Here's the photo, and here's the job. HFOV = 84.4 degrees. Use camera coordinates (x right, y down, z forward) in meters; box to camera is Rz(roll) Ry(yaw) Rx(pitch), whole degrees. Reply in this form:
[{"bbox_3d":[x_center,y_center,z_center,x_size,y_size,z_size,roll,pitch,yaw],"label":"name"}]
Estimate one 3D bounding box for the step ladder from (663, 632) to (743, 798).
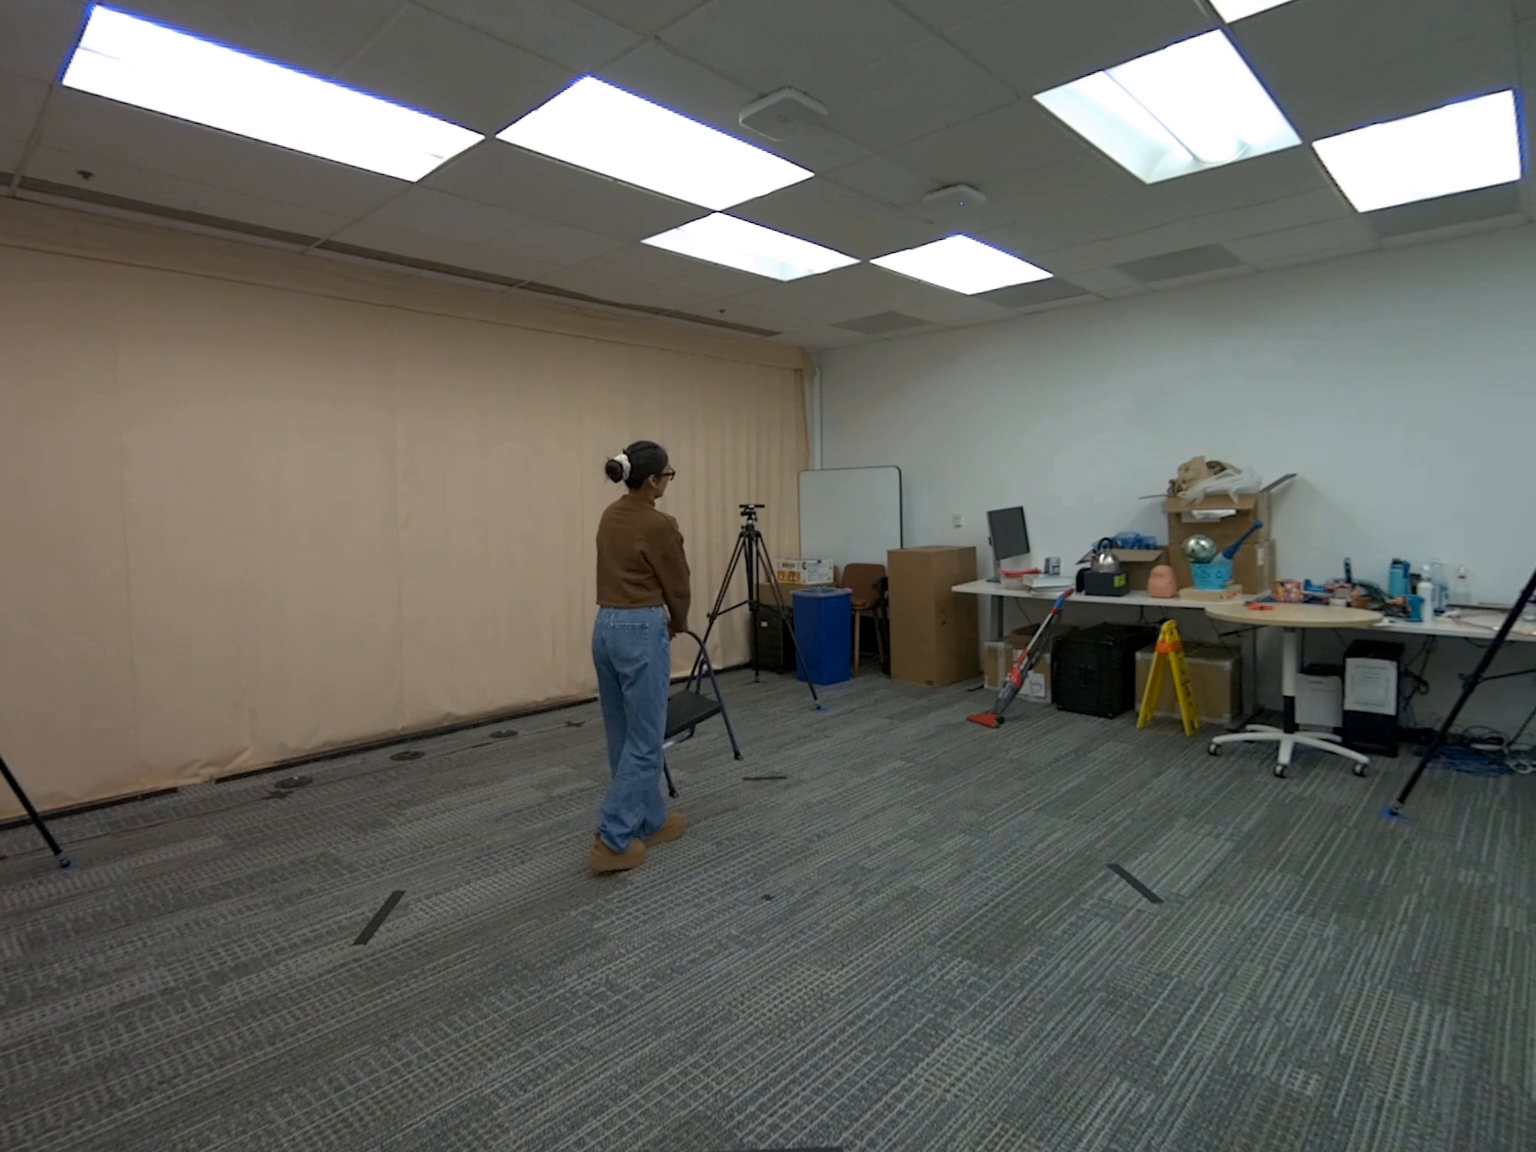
[{"bbox_3d":[-0.385,0.555,3.693,0.362,0.600,0.420,13,22,41],"label":"step ladder"}]
